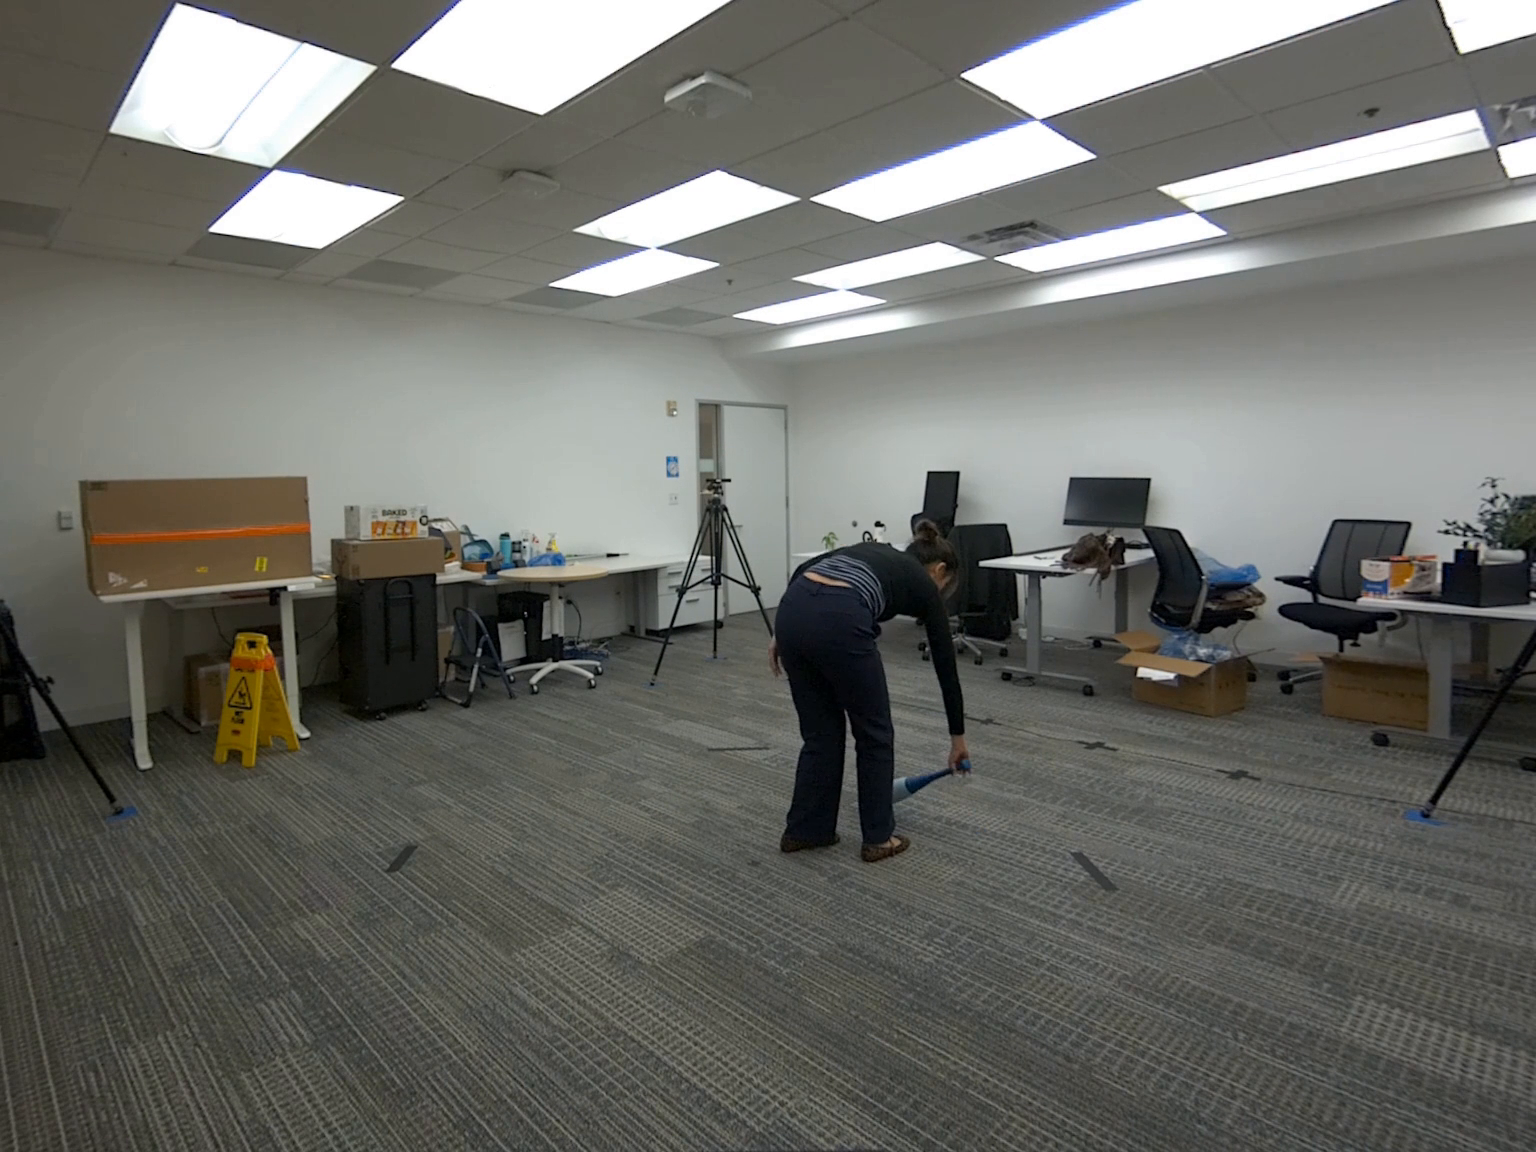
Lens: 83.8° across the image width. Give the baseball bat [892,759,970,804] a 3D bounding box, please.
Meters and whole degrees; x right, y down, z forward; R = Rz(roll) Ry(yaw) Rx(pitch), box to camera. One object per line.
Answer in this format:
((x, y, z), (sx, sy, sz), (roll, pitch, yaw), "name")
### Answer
((0.589, 0.840, 3.424), (0.087, 0.091, 0.547), (-6, -20, -46), "baseball bat")
